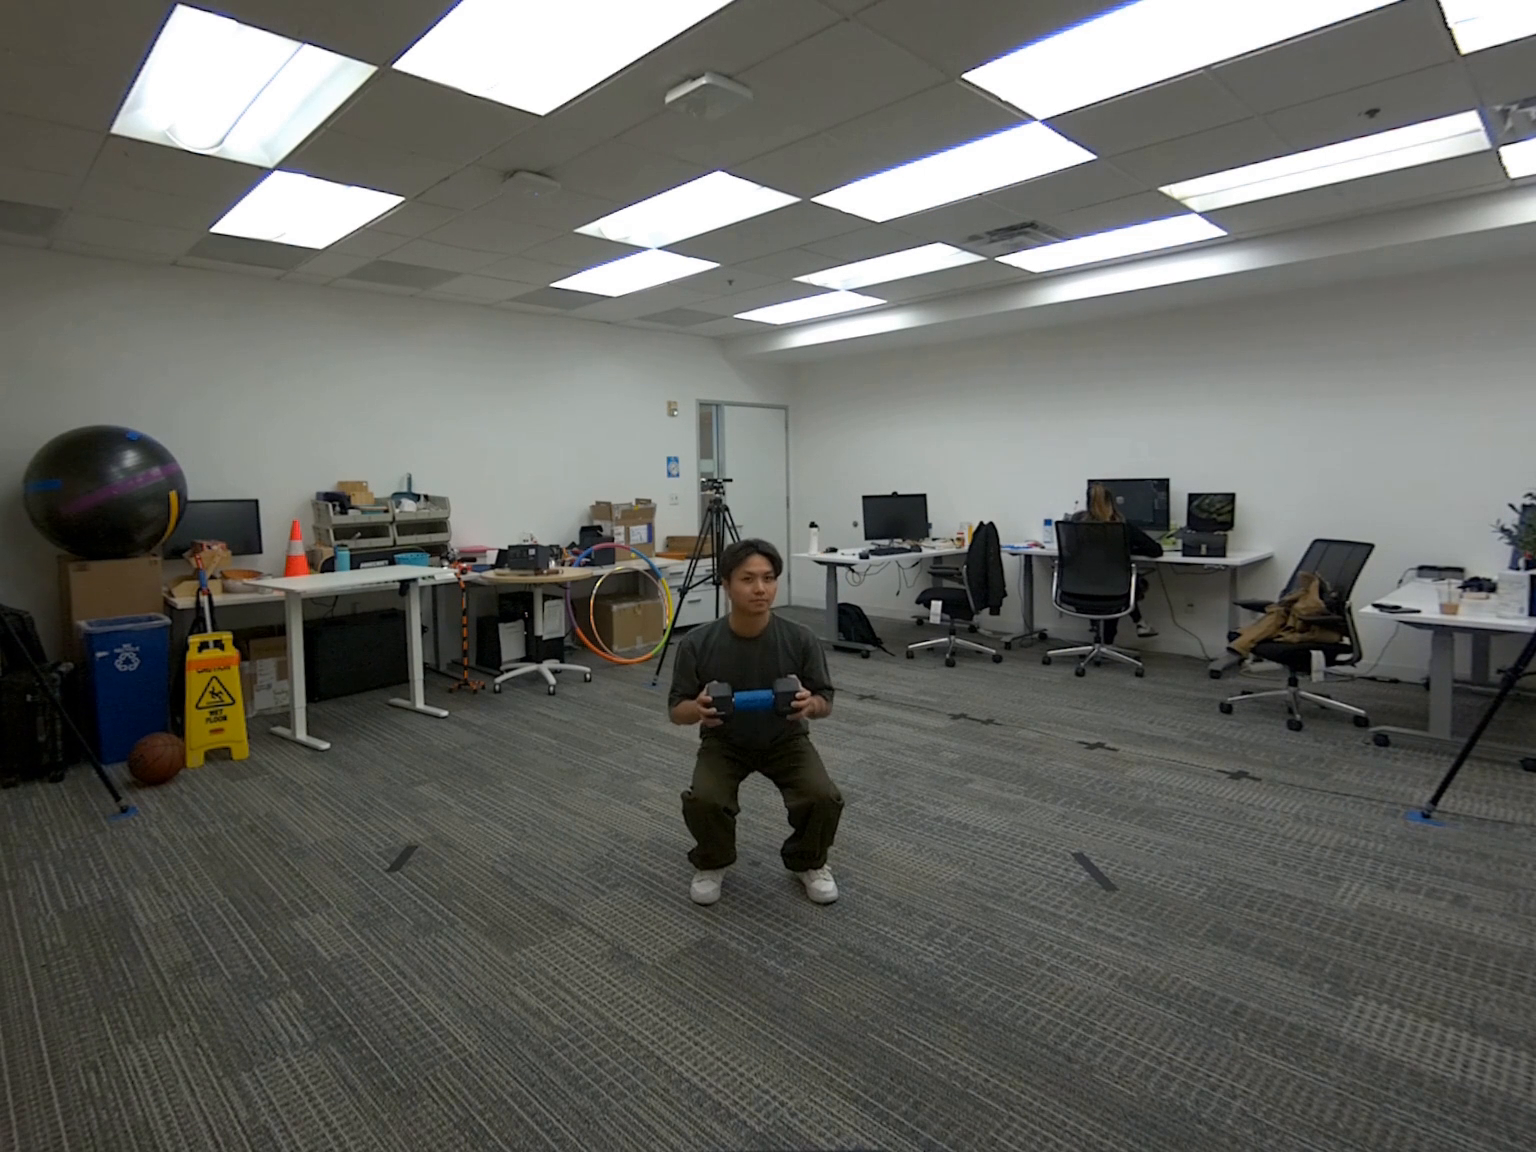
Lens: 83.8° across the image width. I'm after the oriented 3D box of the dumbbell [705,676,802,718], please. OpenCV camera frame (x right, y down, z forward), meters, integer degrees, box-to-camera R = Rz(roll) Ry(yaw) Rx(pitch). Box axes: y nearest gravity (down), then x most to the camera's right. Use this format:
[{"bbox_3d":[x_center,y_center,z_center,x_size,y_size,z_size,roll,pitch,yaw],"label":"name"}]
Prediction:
[{"bbox_3d":[-0.047,0.385,2.695,0.293,0.111,0.120,-3,-29,-1],"label":"dumbbell"}]
